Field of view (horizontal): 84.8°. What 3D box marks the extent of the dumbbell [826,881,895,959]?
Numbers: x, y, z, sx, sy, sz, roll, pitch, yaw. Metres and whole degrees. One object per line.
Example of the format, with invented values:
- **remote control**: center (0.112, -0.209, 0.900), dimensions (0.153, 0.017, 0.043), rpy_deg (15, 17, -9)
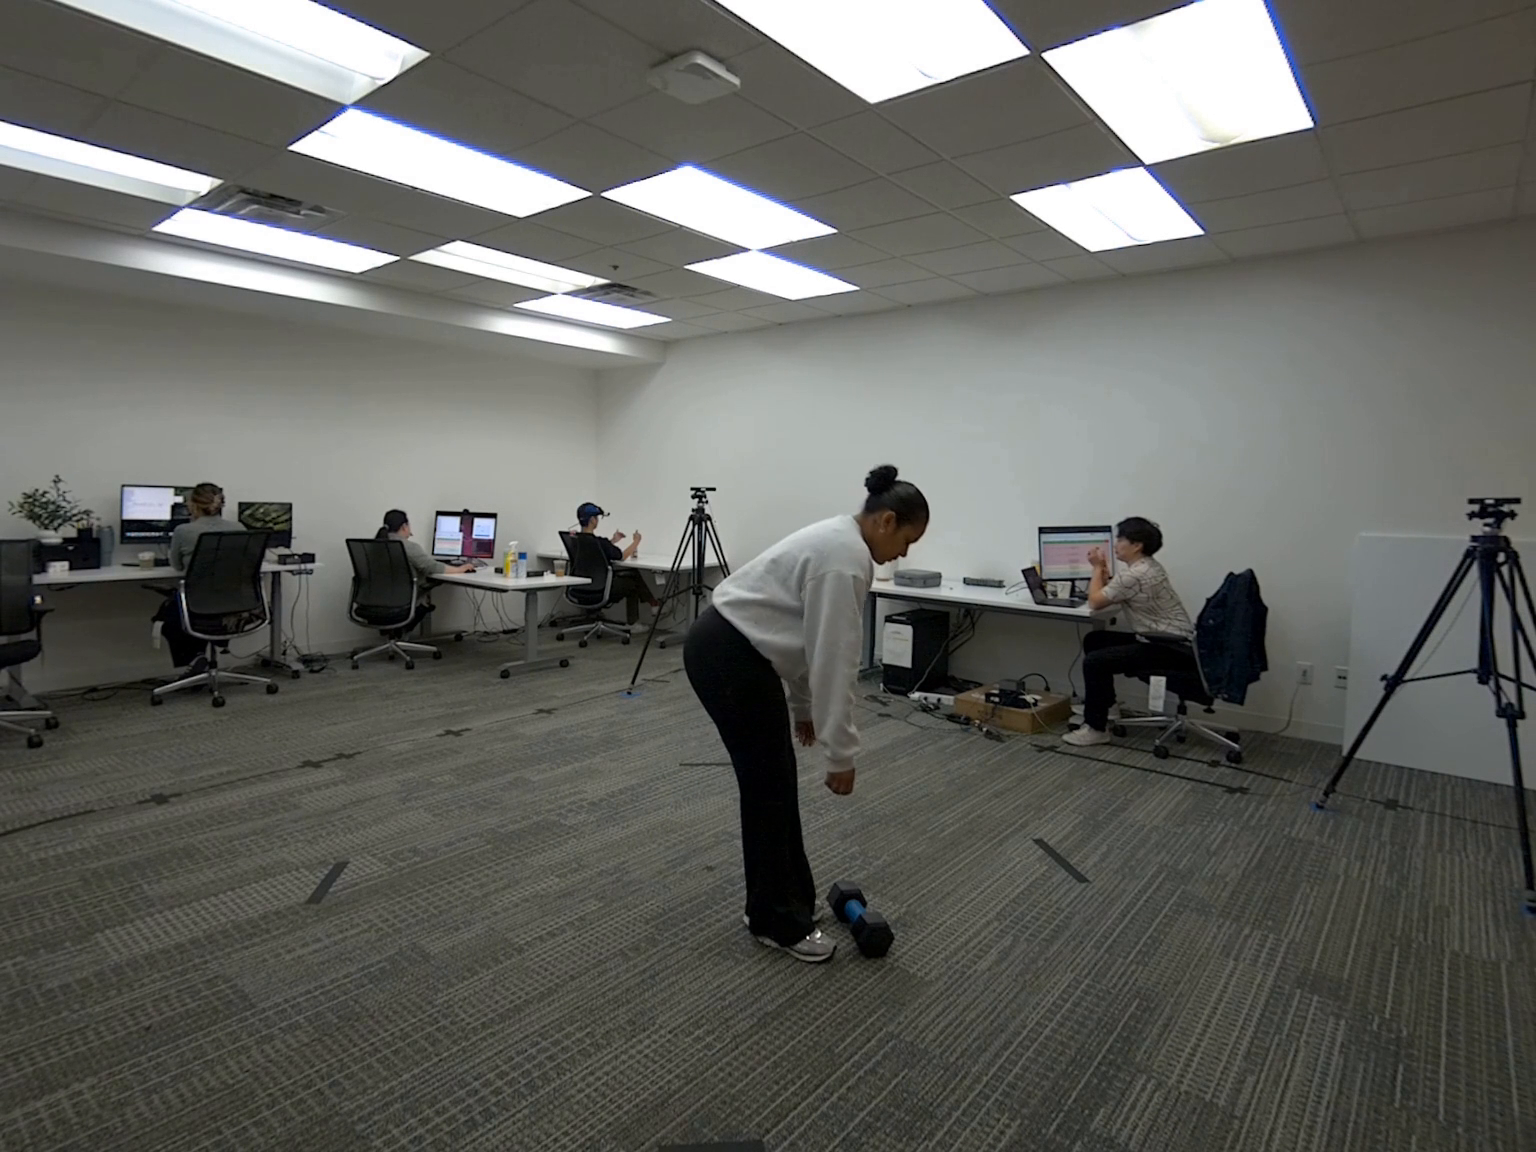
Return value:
- **dumbbell**: center (0.277, 1.074, 2.660), dimensions (0.106, 0.123, 0.299), rpy_deg (33, -4, -16)
